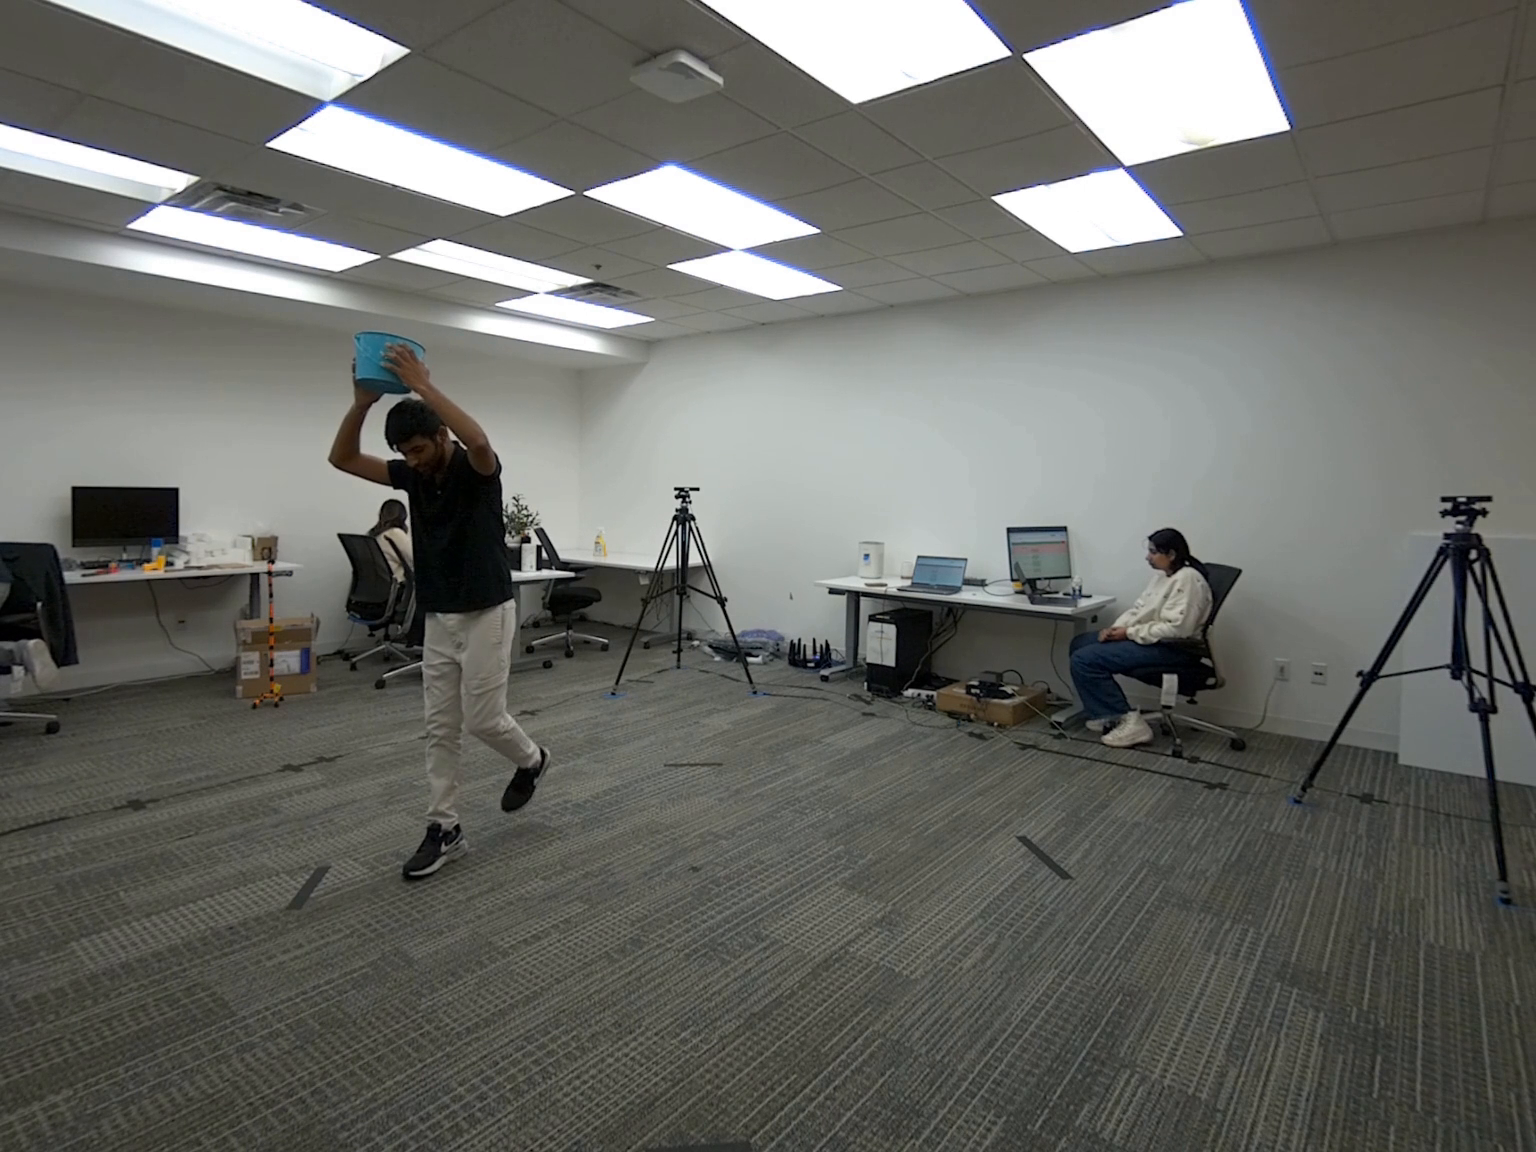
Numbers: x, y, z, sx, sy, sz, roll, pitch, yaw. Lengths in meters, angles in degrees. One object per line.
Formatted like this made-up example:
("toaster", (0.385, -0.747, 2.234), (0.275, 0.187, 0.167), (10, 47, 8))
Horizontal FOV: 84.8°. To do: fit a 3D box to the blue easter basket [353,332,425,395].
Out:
("blue easter basket", (-1.315, -0.726, 2.884), (0.243, 0.157, 0.242), (4, -5, -1))
